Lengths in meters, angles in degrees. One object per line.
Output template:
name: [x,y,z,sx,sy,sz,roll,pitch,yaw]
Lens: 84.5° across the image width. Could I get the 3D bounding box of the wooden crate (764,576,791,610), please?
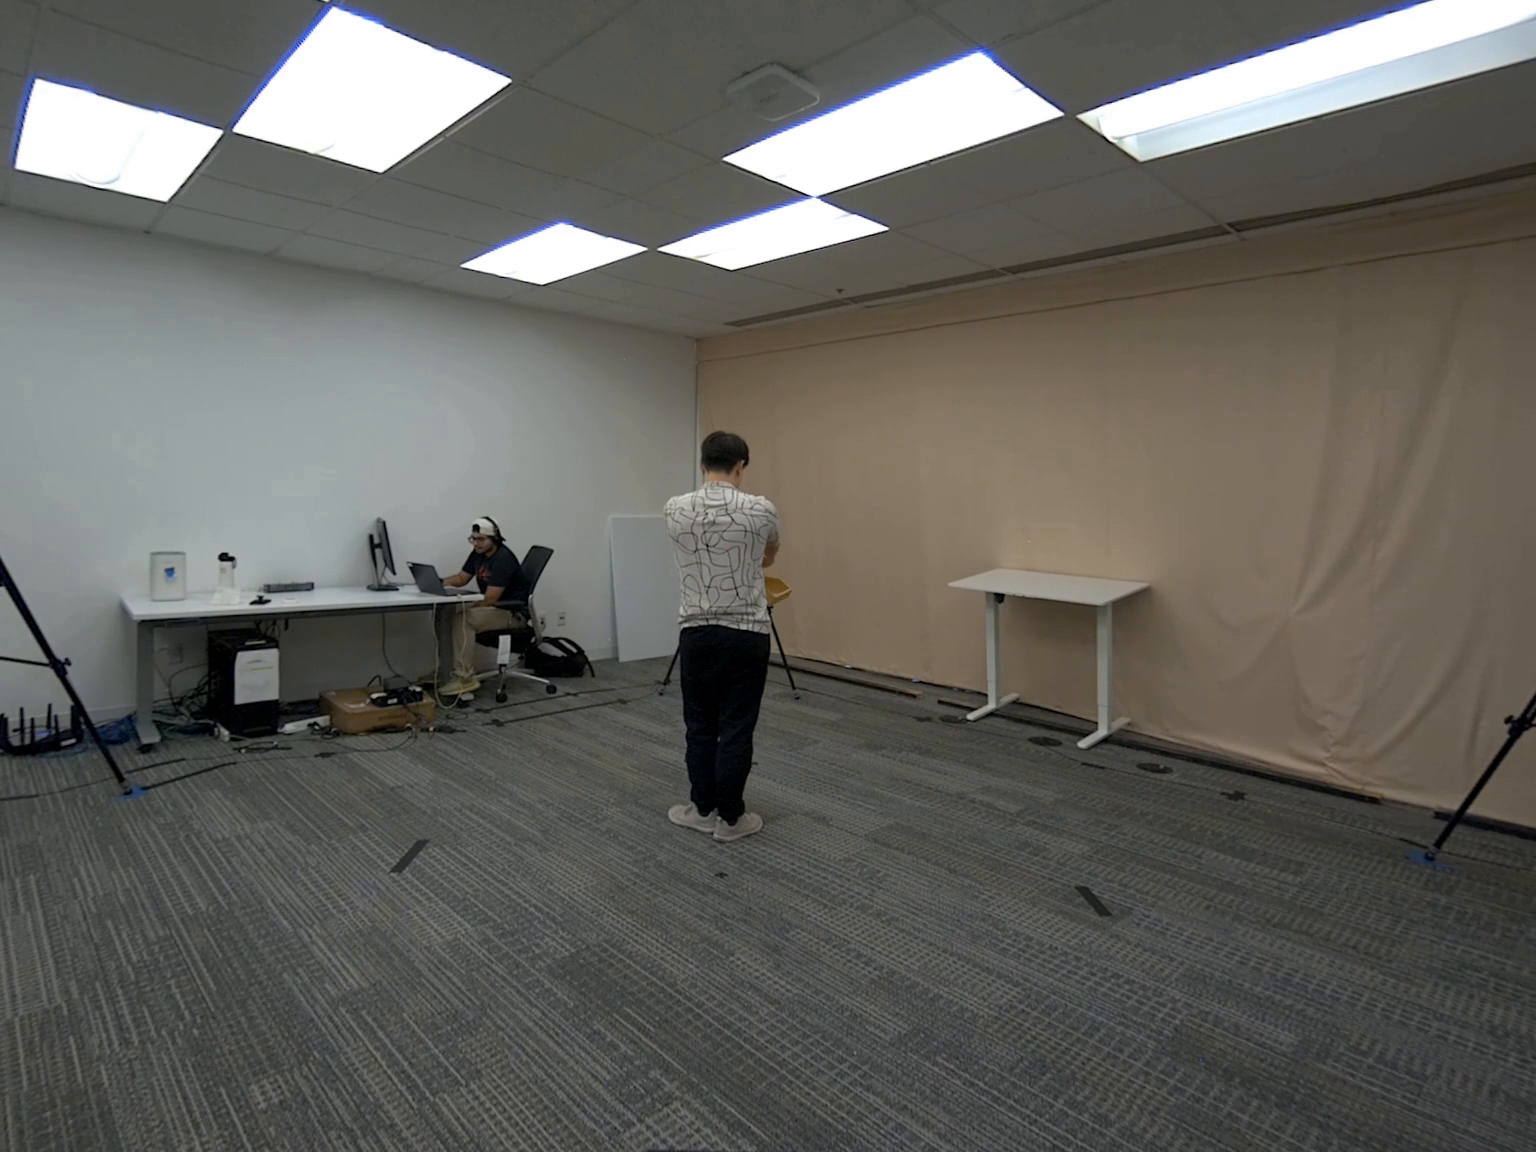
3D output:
wooden crate: [-0.067,-0.026,3.952,0.306,0.272,0.321,8,6,14]
